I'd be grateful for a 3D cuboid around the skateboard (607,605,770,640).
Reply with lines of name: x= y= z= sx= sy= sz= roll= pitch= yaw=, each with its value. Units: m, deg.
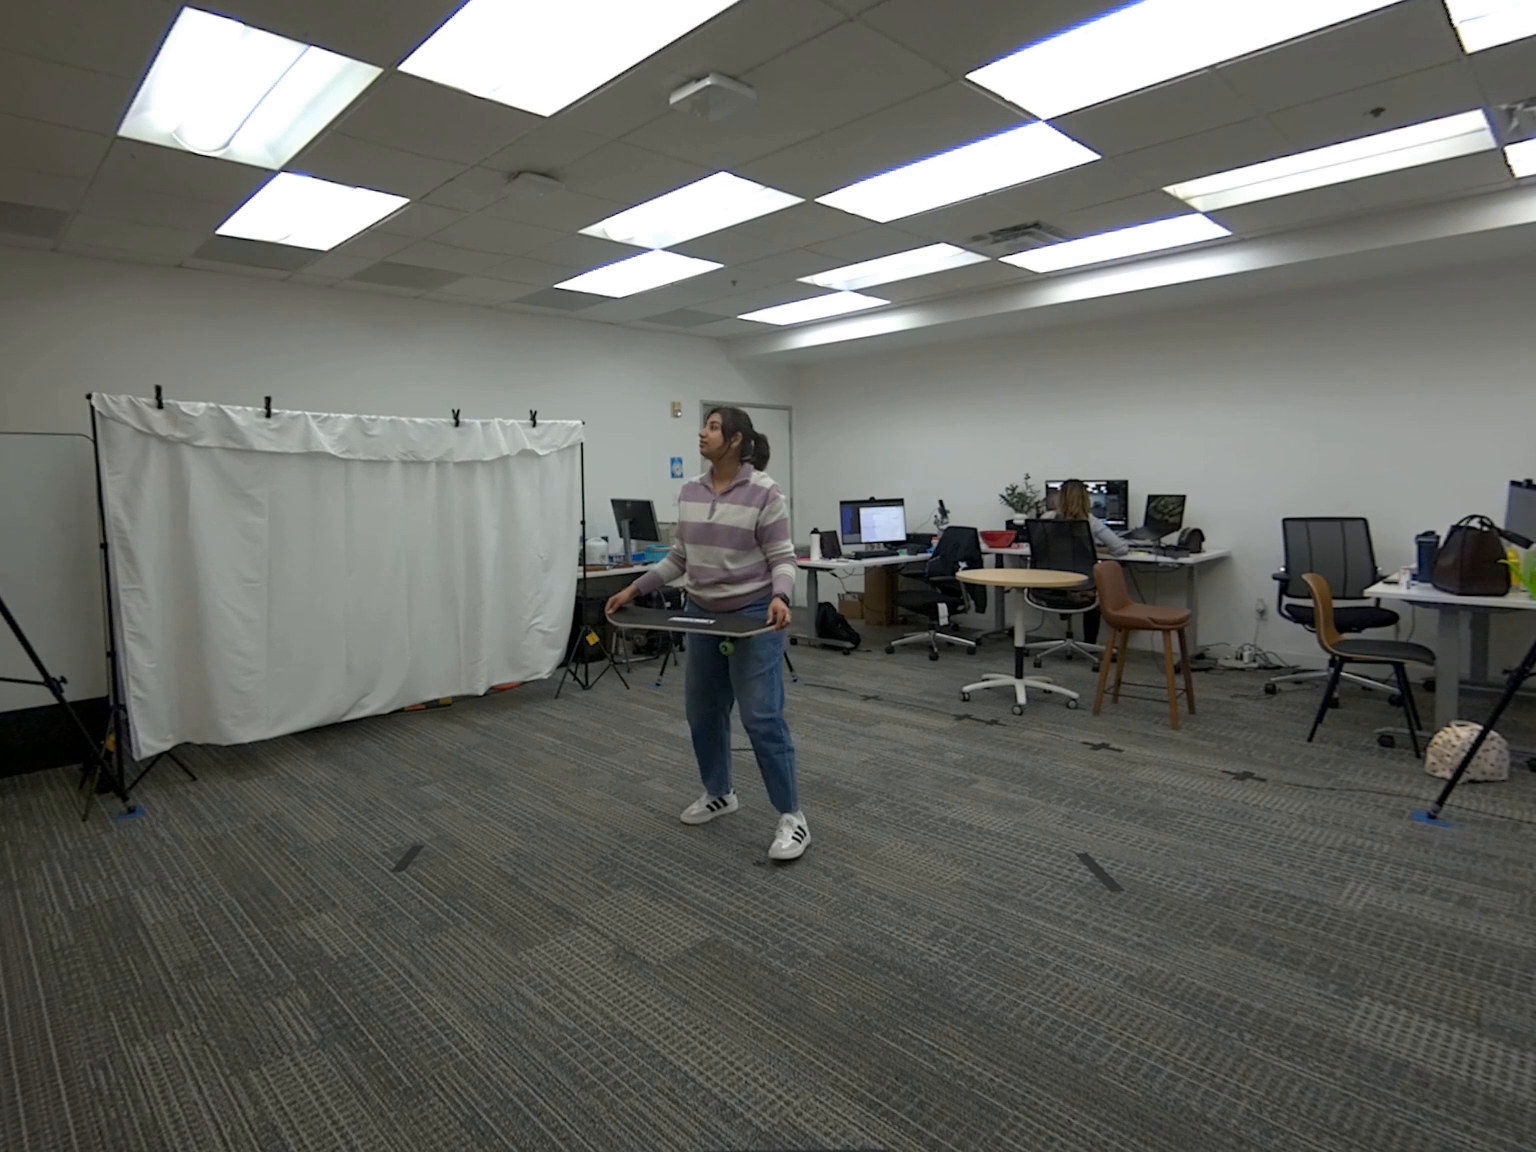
skateboard: x=-0.284 y=0.202 z=3.222 sx=0.808 sy=0.109 sz=0.190 roll=4 pitch=15 yaw=35
